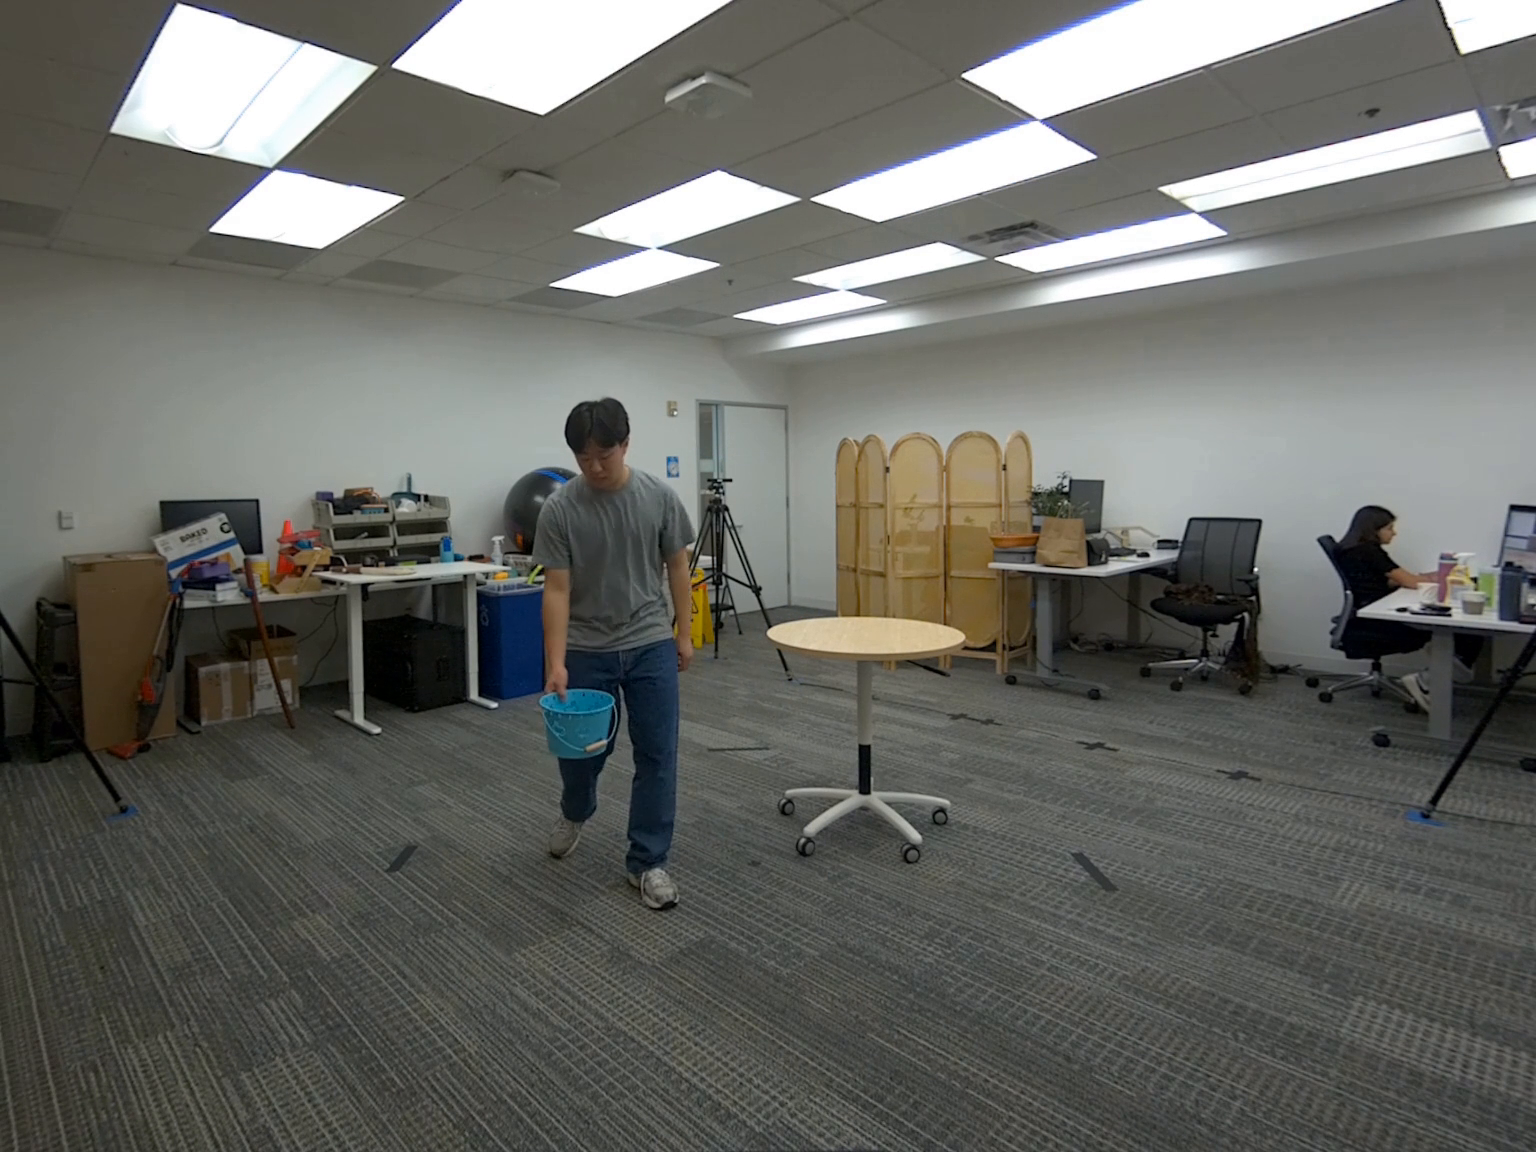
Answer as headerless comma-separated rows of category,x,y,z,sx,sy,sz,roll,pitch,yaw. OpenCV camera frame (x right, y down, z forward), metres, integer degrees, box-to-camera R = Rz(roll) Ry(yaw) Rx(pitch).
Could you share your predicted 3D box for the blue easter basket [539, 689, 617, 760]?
blue easter basket,-0.603,0.473,2.662,0.243,0.155,0.245,0,8,-2
